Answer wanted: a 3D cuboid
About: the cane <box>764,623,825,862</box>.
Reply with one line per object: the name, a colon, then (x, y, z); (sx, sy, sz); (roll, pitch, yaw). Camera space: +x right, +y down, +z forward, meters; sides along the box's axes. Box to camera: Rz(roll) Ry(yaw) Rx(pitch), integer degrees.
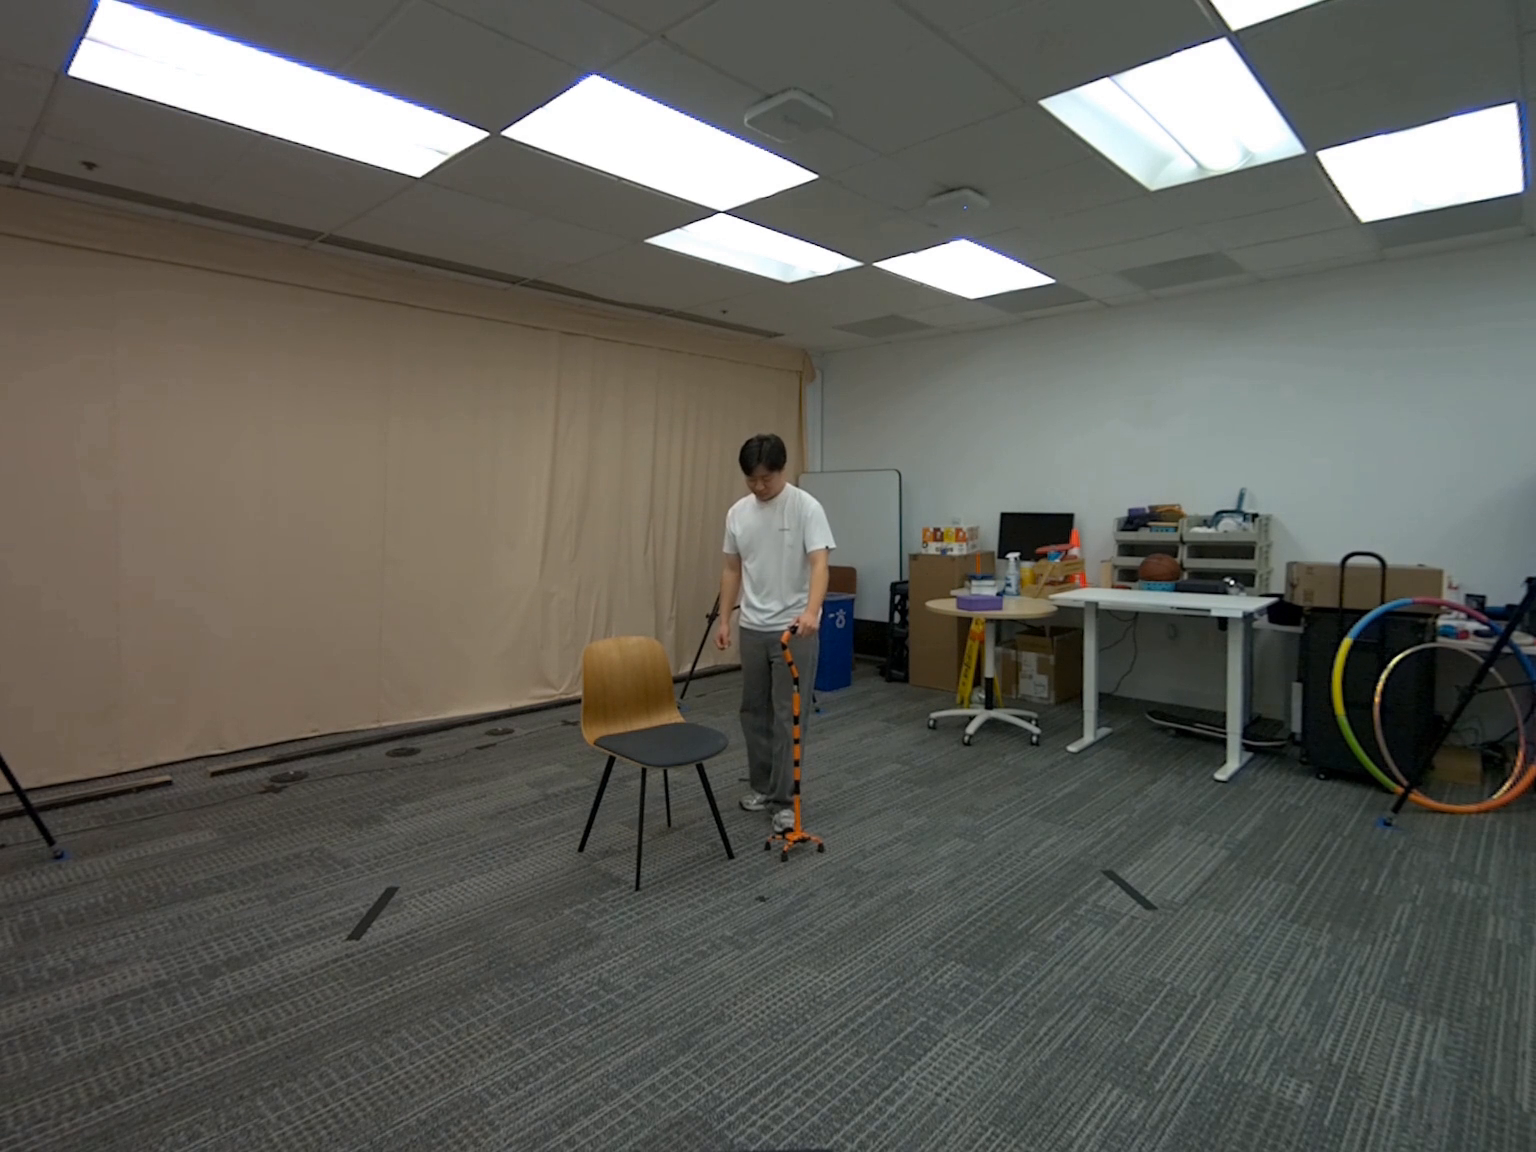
cane: (0.111, 0.642, 3.374); (0.200, 0.907, 0.156); (0, 2, -34)
